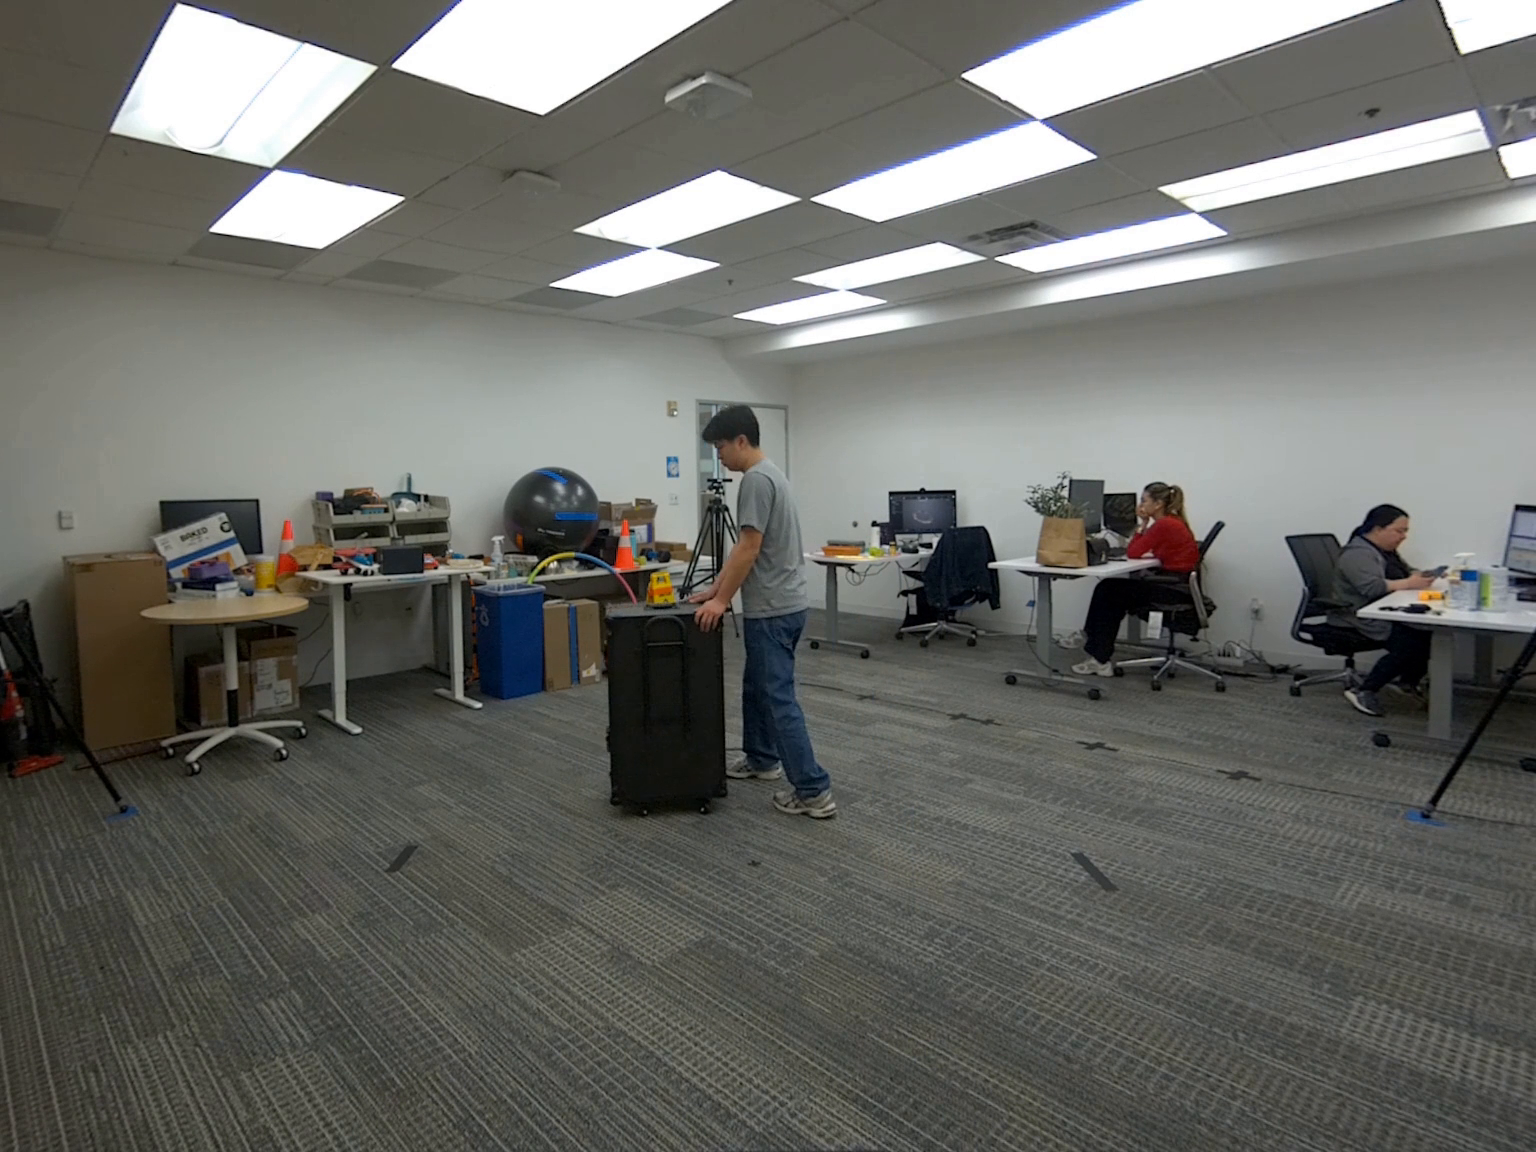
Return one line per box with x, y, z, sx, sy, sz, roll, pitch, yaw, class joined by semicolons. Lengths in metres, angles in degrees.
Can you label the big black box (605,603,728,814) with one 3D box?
-0.437;0.570;3.676;0.518;0.858;0.401;-1;5;-7;big black box
